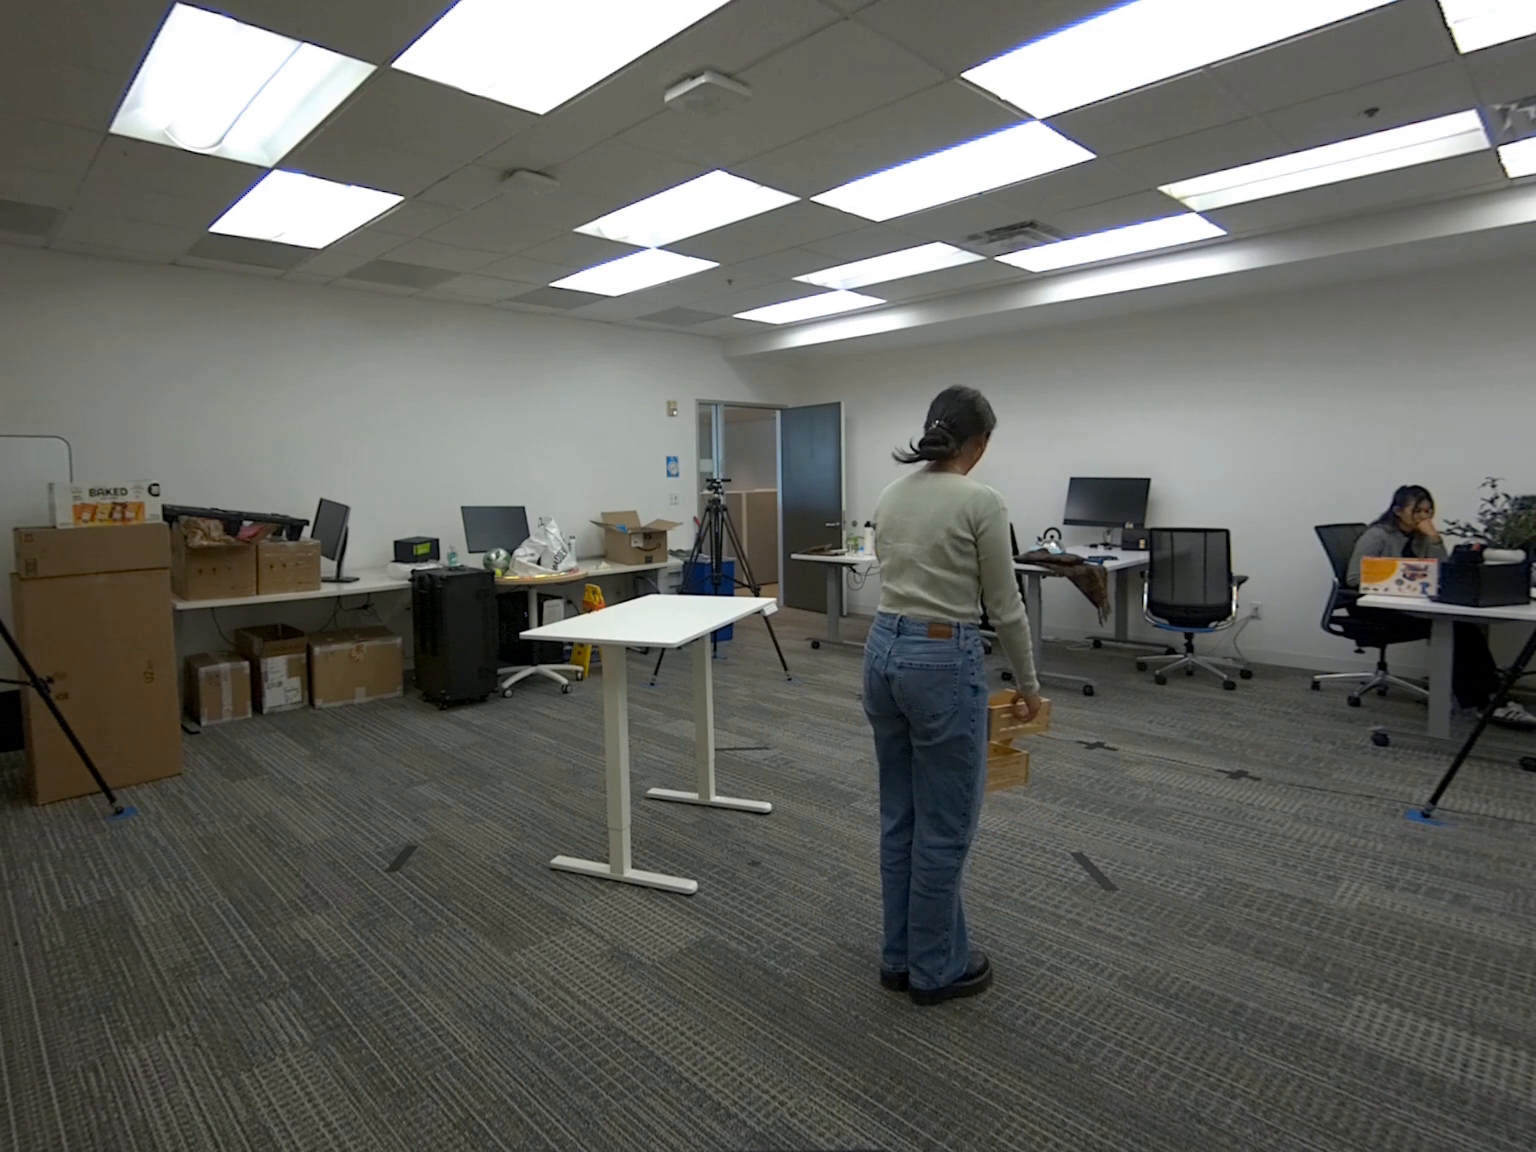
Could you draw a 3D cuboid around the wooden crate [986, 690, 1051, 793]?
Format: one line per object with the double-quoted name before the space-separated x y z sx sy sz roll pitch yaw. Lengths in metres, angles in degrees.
"wooden crate" 0.626 0.469 2.501 0.315 0.272 0.312 1 6 -40
